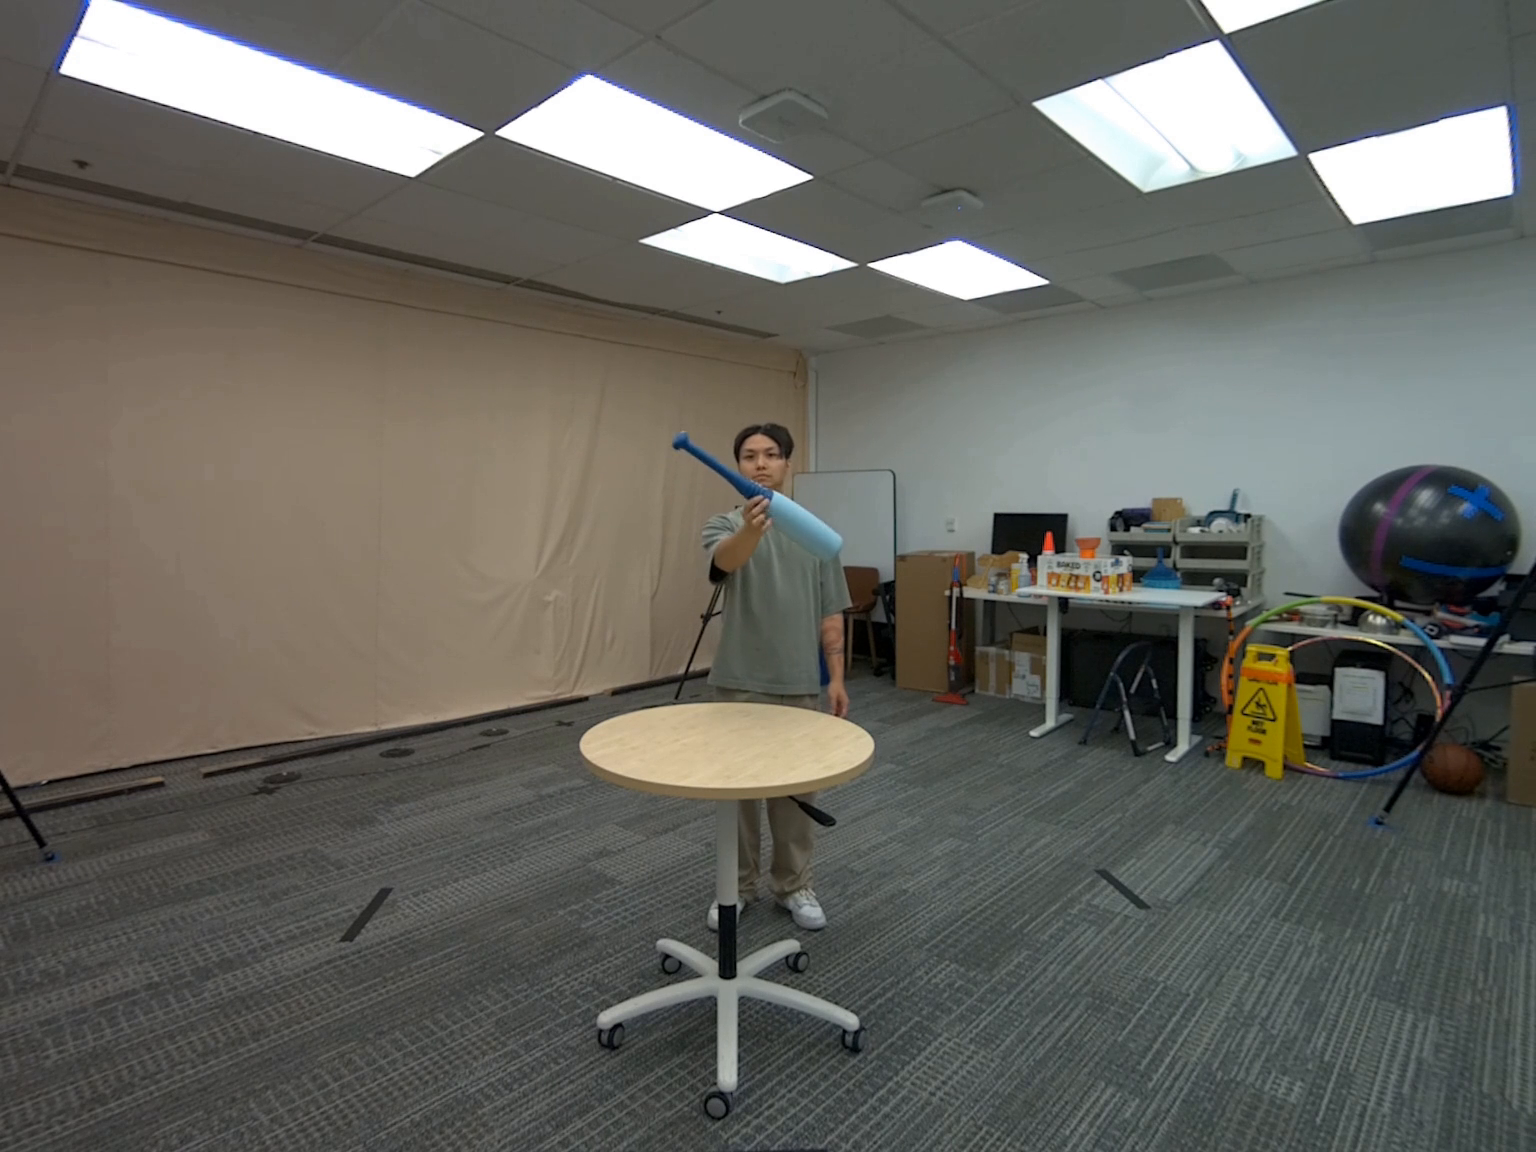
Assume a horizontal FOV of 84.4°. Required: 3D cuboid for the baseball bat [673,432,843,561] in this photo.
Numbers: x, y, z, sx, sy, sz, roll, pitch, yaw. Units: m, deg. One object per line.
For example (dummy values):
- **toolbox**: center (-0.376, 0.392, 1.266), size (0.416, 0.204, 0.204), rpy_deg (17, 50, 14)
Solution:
- **baseball bat**: center (-0.033, -0.213, 2.189), size (0.530, 0.089, 0.091), rpy_deg (34, -10, -21)
